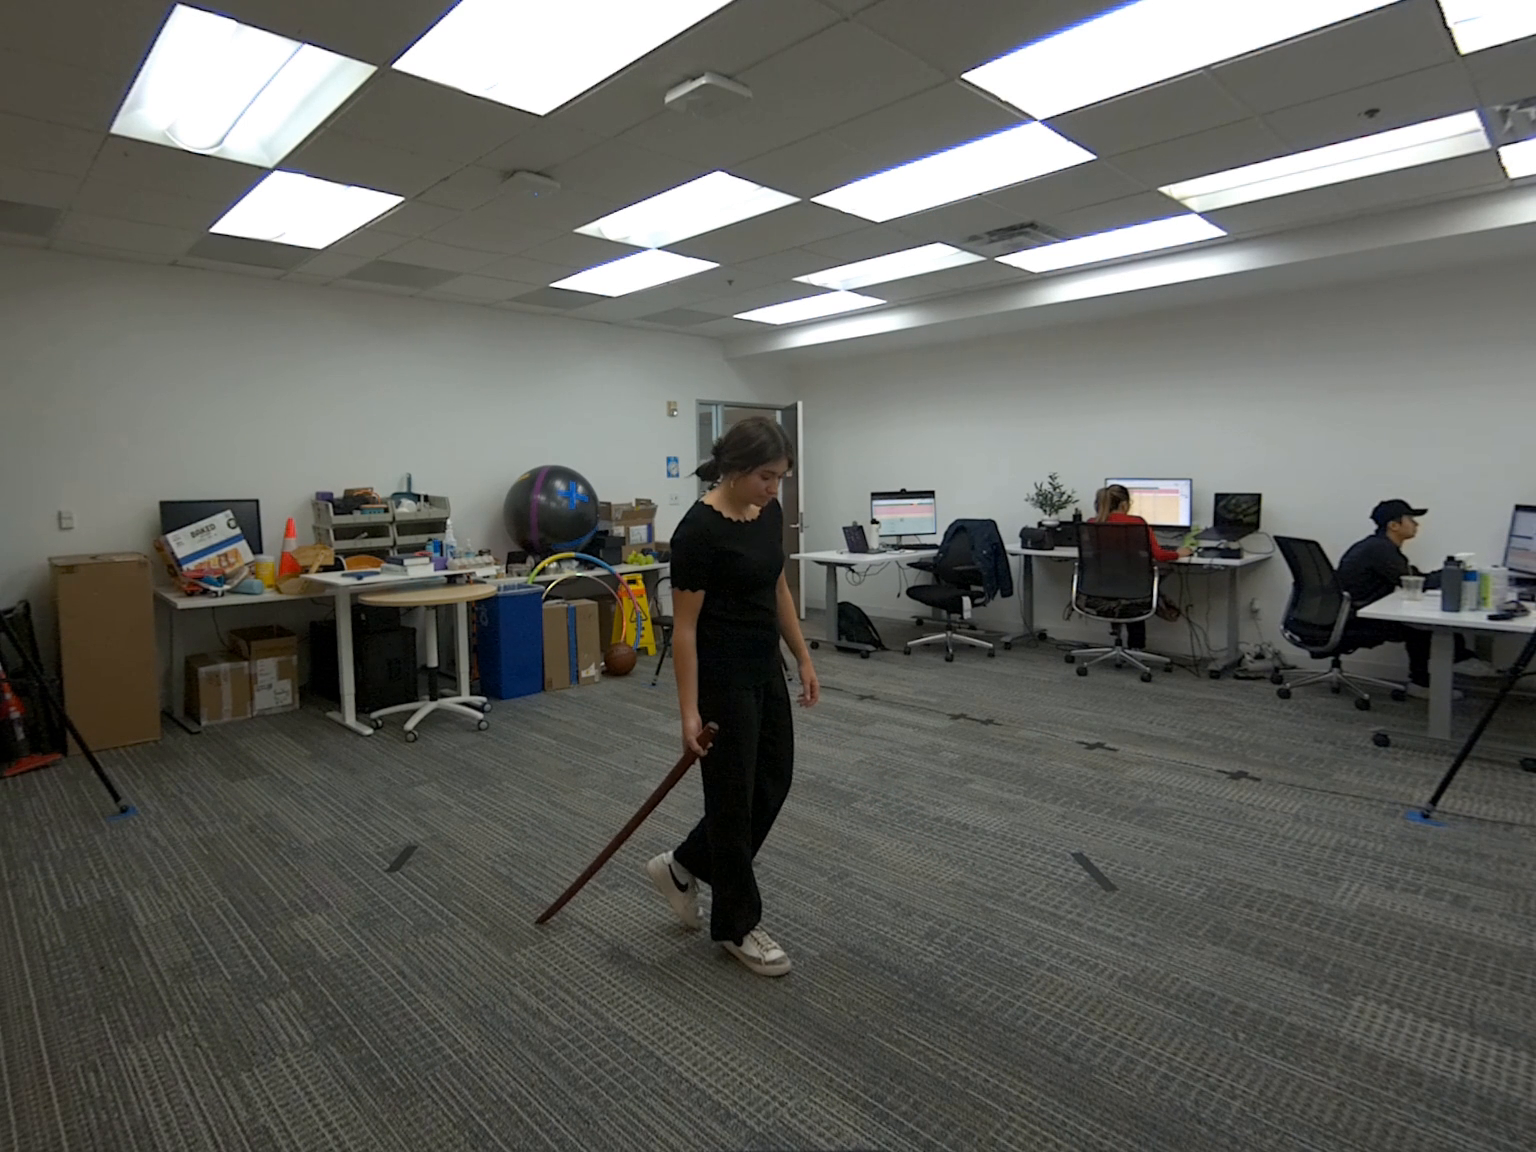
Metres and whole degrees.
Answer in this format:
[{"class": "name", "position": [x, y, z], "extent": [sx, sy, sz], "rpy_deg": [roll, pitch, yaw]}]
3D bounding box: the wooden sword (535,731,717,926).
[{"class": "wooden sword", "position": [-0.423, 0.771, 2.484], "extent": [0.049, 0.025, 1.024], "rpy_deg": [22, -55, -33]}]
